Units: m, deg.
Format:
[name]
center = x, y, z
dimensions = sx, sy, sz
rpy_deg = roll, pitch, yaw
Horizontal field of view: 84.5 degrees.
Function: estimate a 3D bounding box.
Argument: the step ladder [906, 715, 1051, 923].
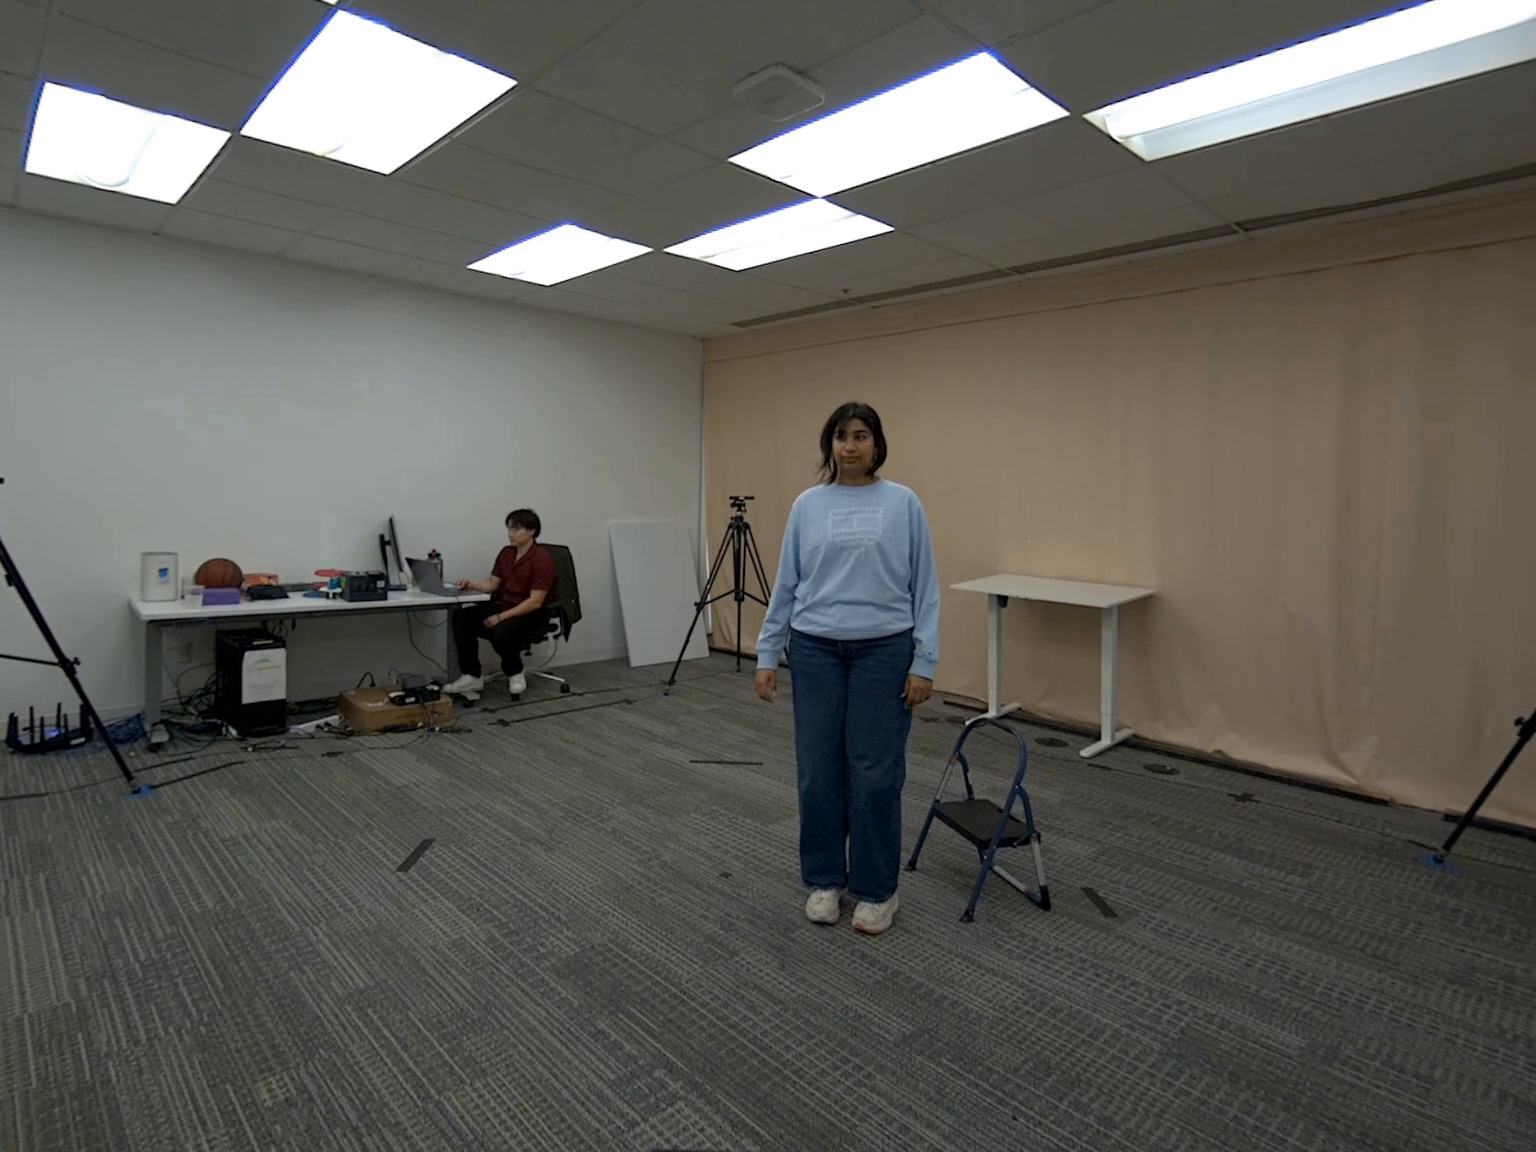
[step ladder]
center = 0.751, 0.835, 3.031
dimensions = 0.345, 0.604, 0.437
rpy_deg = 1, 4, -17
